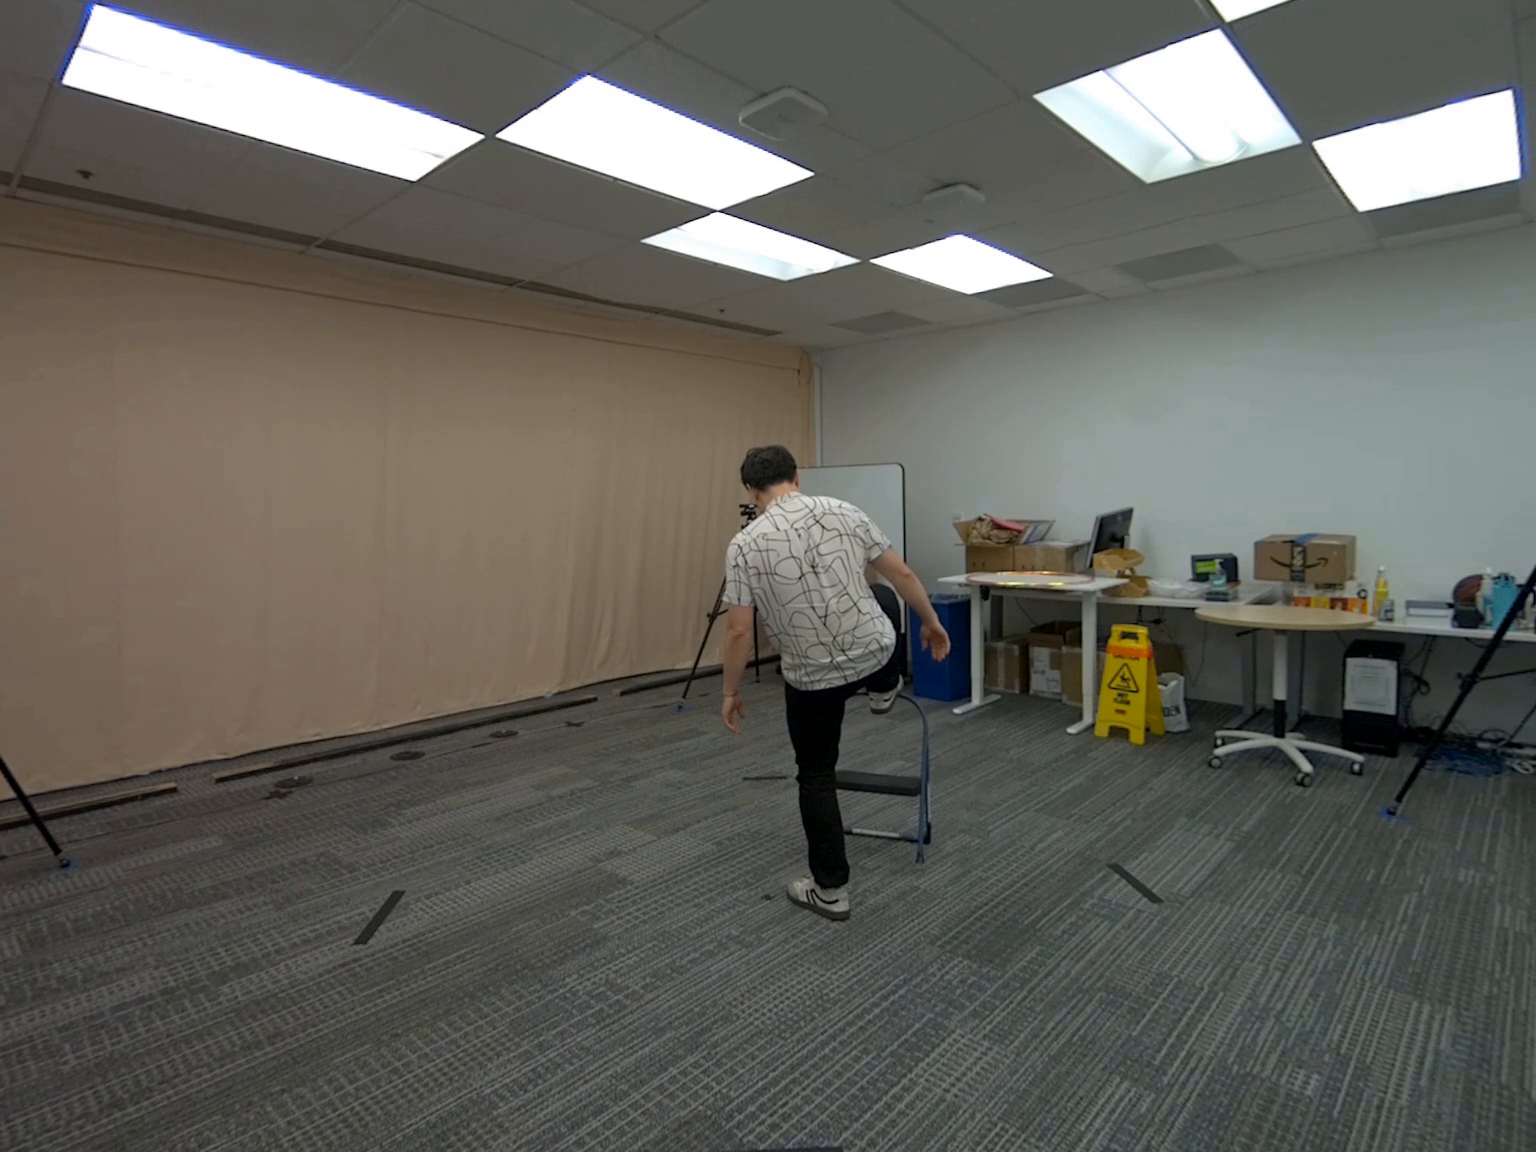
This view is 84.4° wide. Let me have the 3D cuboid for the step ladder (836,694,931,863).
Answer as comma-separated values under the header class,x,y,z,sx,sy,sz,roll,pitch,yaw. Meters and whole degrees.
class,x,y,z,sx,sy,sz,roll,pitch,yaw
step ladder,0.438,0.777,3.385,0.439,0.608,0.341,0,-6,18
